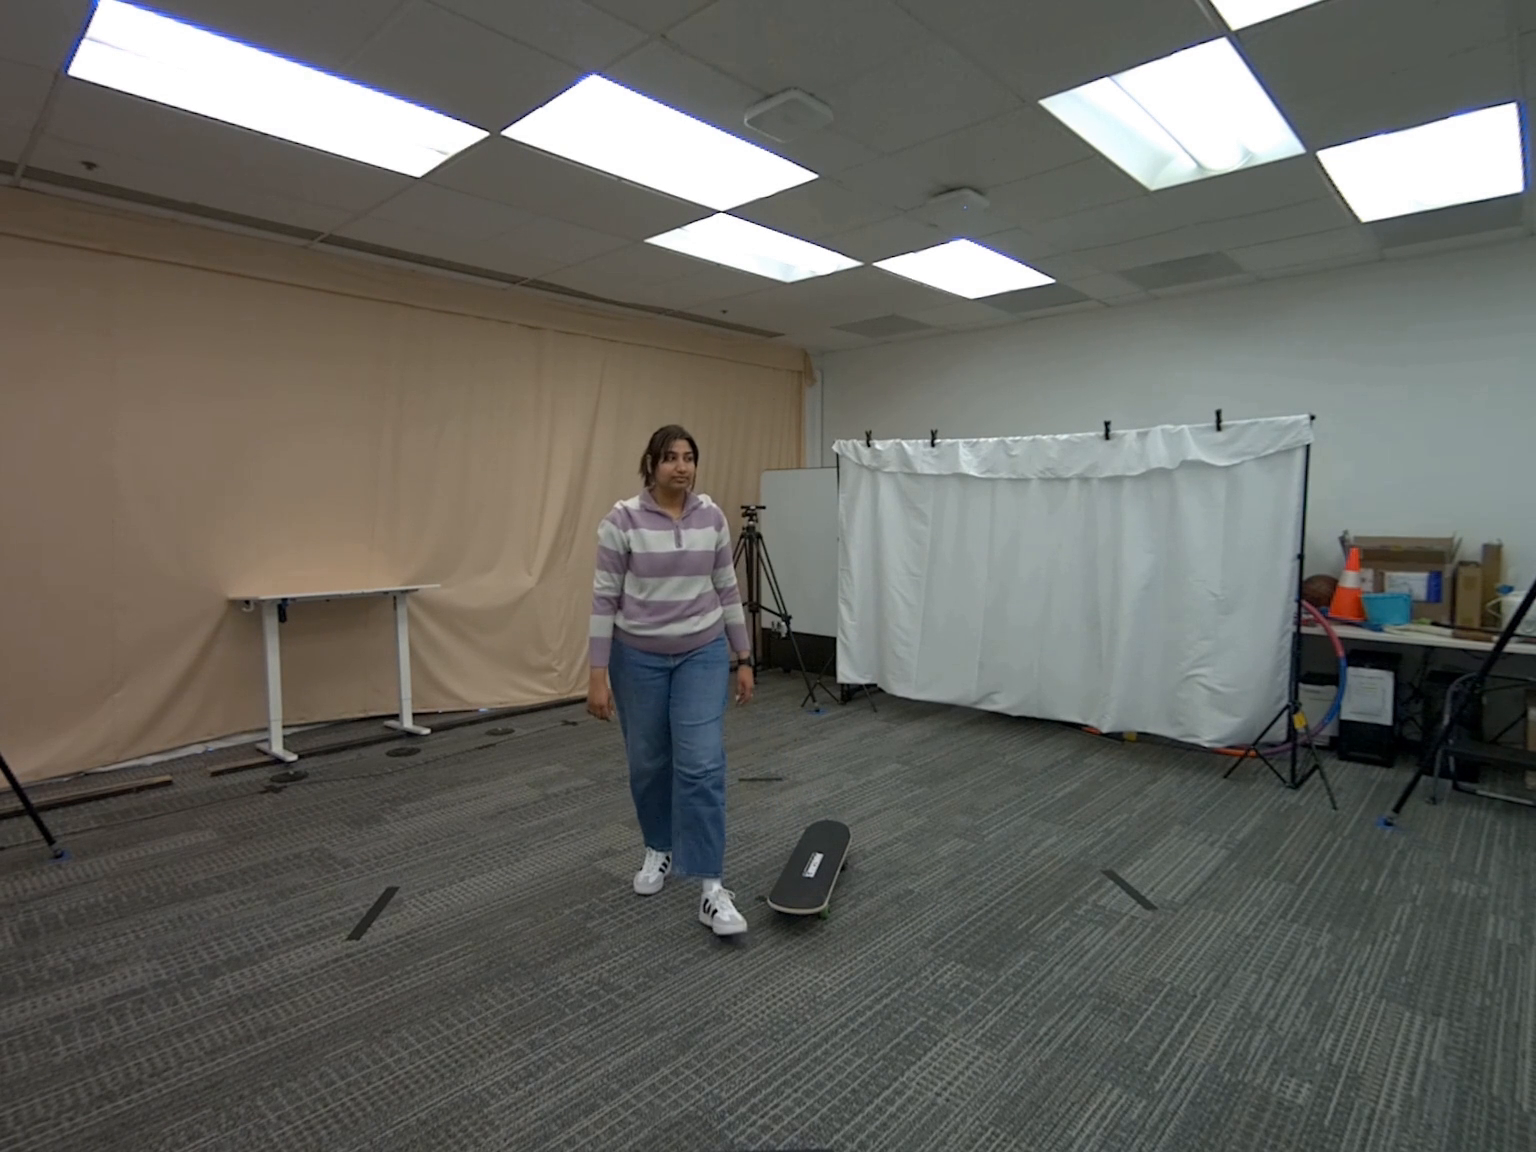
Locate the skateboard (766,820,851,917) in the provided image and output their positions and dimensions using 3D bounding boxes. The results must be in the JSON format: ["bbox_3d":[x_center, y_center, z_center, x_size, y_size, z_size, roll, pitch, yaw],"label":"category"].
[{"bbox_3d":[0.169,1.080,3.050,0.197,0.110,0.774,1,5,14],"label":"skateboard"}]
